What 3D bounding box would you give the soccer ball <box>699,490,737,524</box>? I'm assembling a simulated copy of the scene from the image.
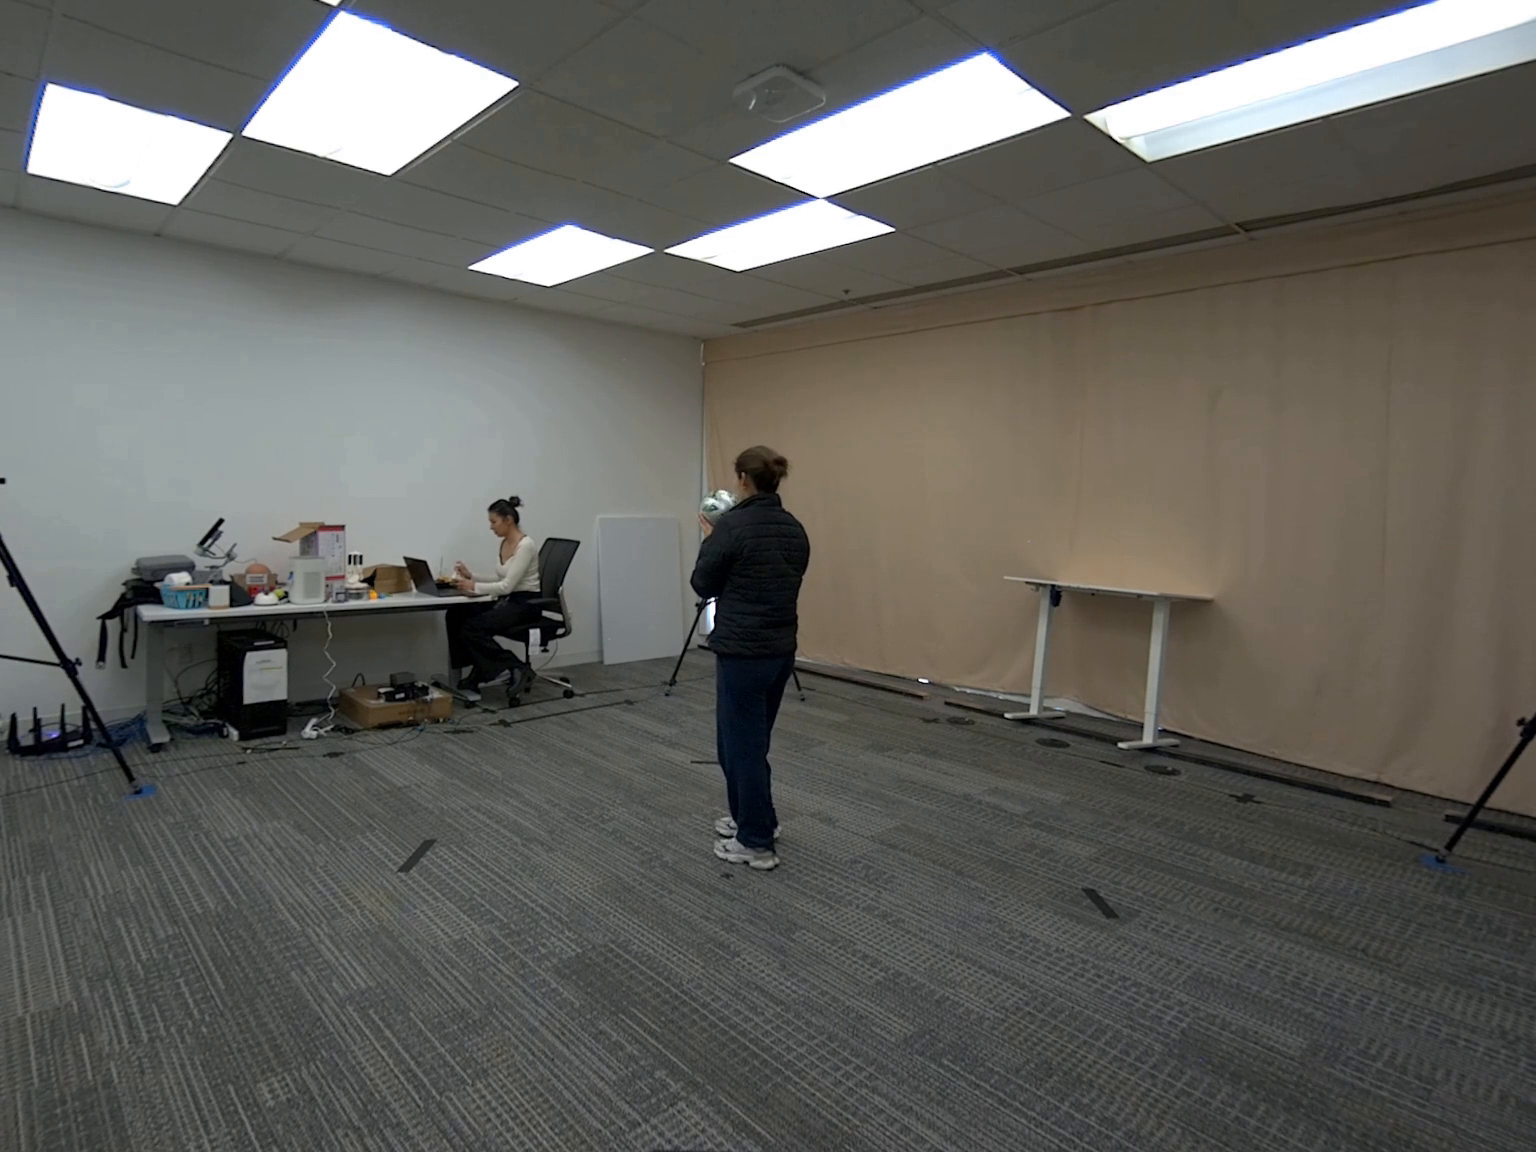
[{"bbox_3d":[-0.191,-0.257,3.461,0.187,0.187,0.188,1,4,-1],"label":"soccer ball"}]
